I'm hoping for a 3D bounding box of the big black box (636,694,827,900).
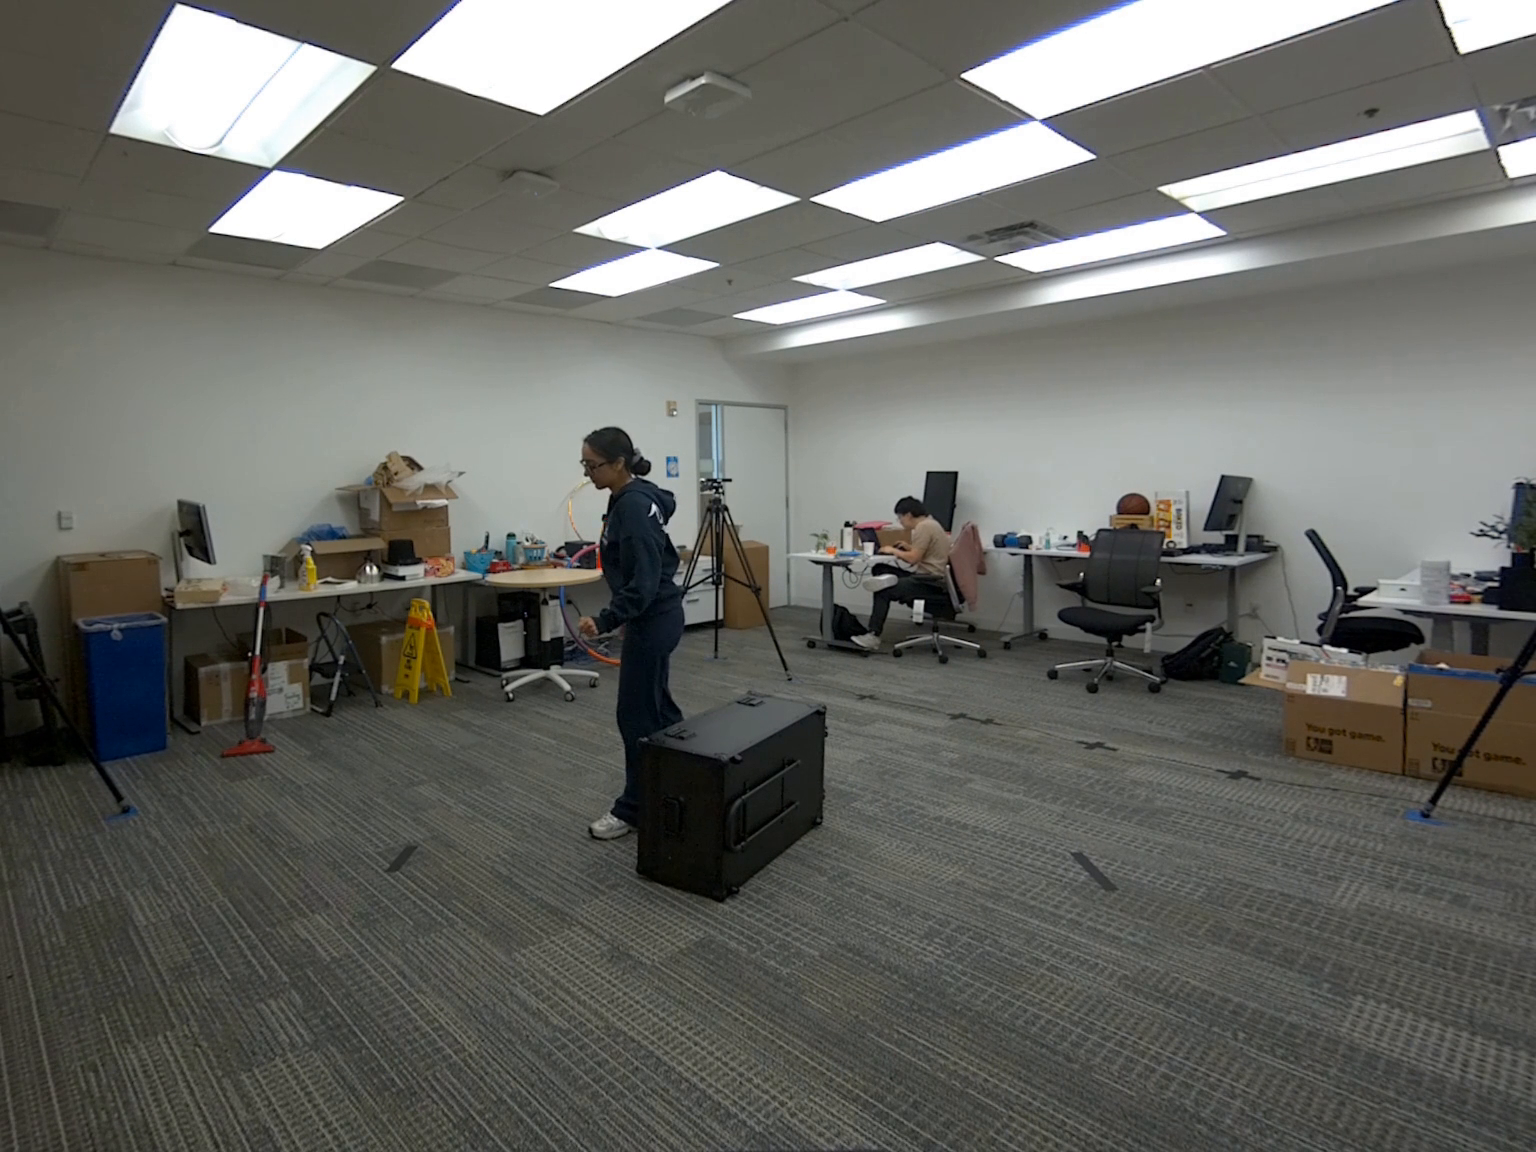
[{"bbox_3d":[-0.086,0.773,3.232,0.407,0.518,0.843,4,8,29],"label":"big black box"}]
